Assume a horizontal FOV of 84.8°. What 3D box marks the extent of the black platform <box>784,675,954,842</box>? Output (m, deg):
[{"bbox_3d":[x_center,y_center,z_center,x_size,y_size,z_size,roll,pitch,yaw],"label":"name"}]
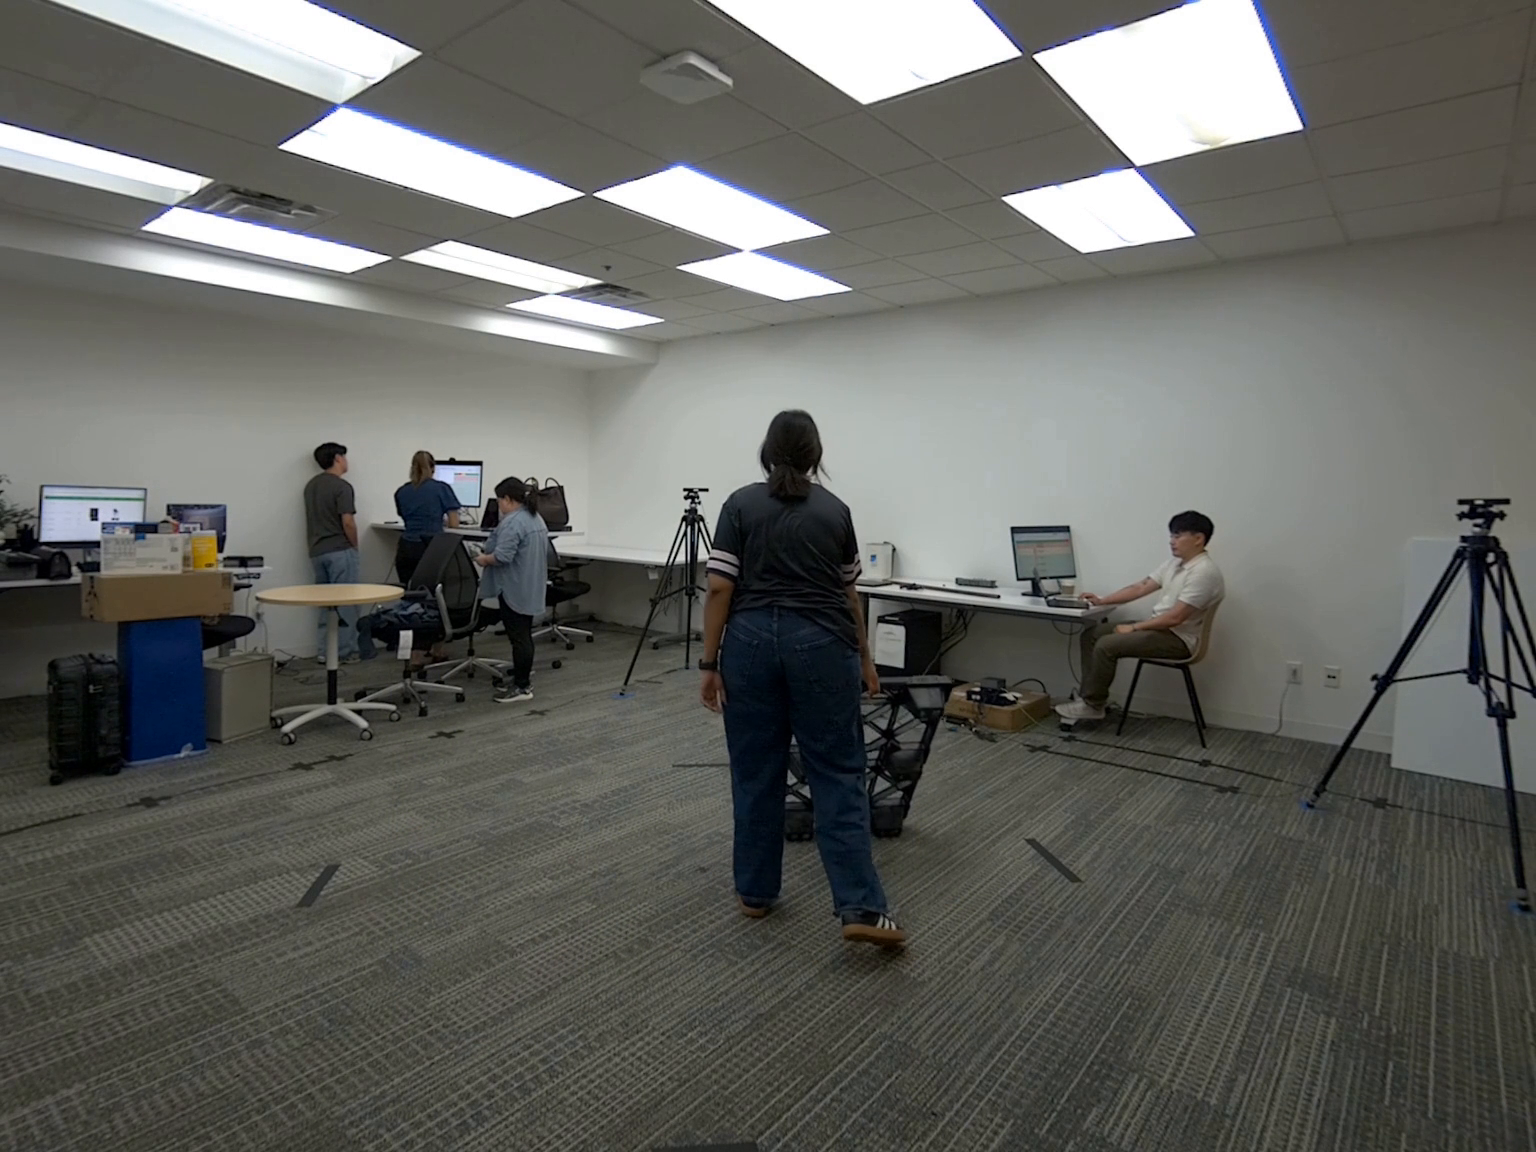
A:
[{"bbox_3d":[0.338,0.716,3.264,0.597,0.788,0.148,0,35,-12],"label":"black platform"}]
